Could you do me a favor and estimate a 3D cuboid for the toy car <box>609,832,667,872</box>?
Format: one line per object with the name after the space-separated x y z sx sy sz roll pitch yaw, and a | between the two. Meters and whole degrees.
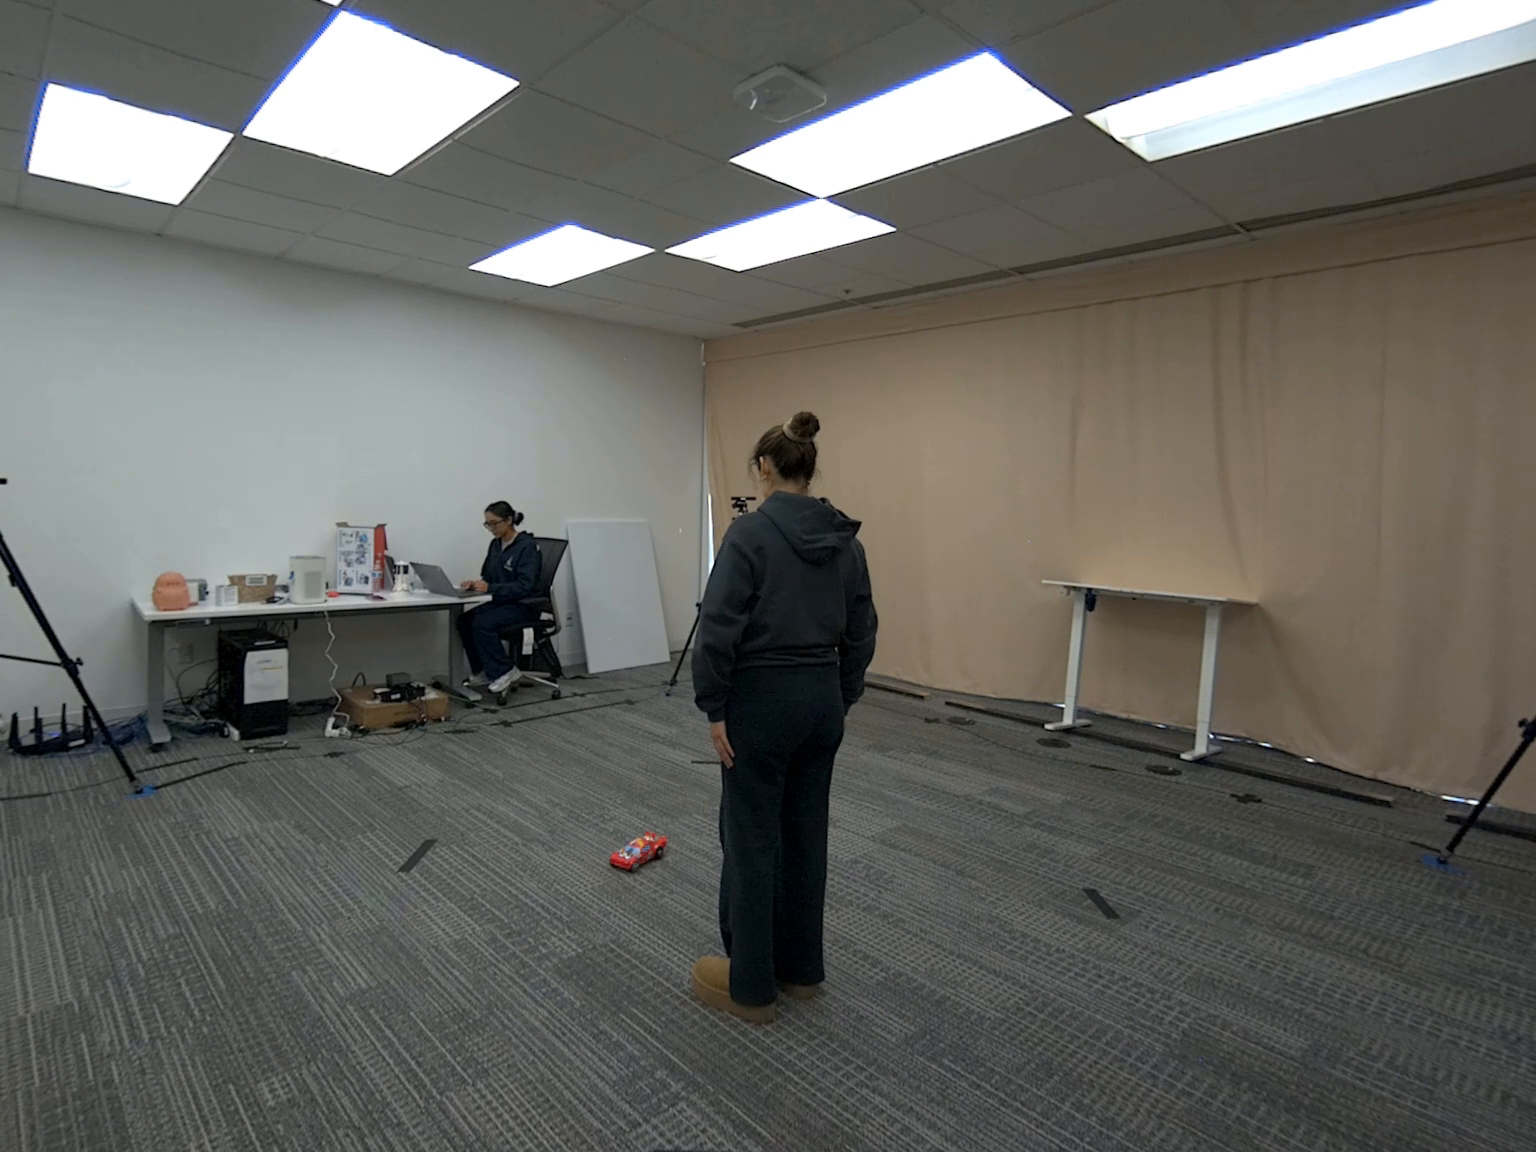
-0.499 1.058 3.224 0.133 0.082 0.251 3 16 31 | toy car
